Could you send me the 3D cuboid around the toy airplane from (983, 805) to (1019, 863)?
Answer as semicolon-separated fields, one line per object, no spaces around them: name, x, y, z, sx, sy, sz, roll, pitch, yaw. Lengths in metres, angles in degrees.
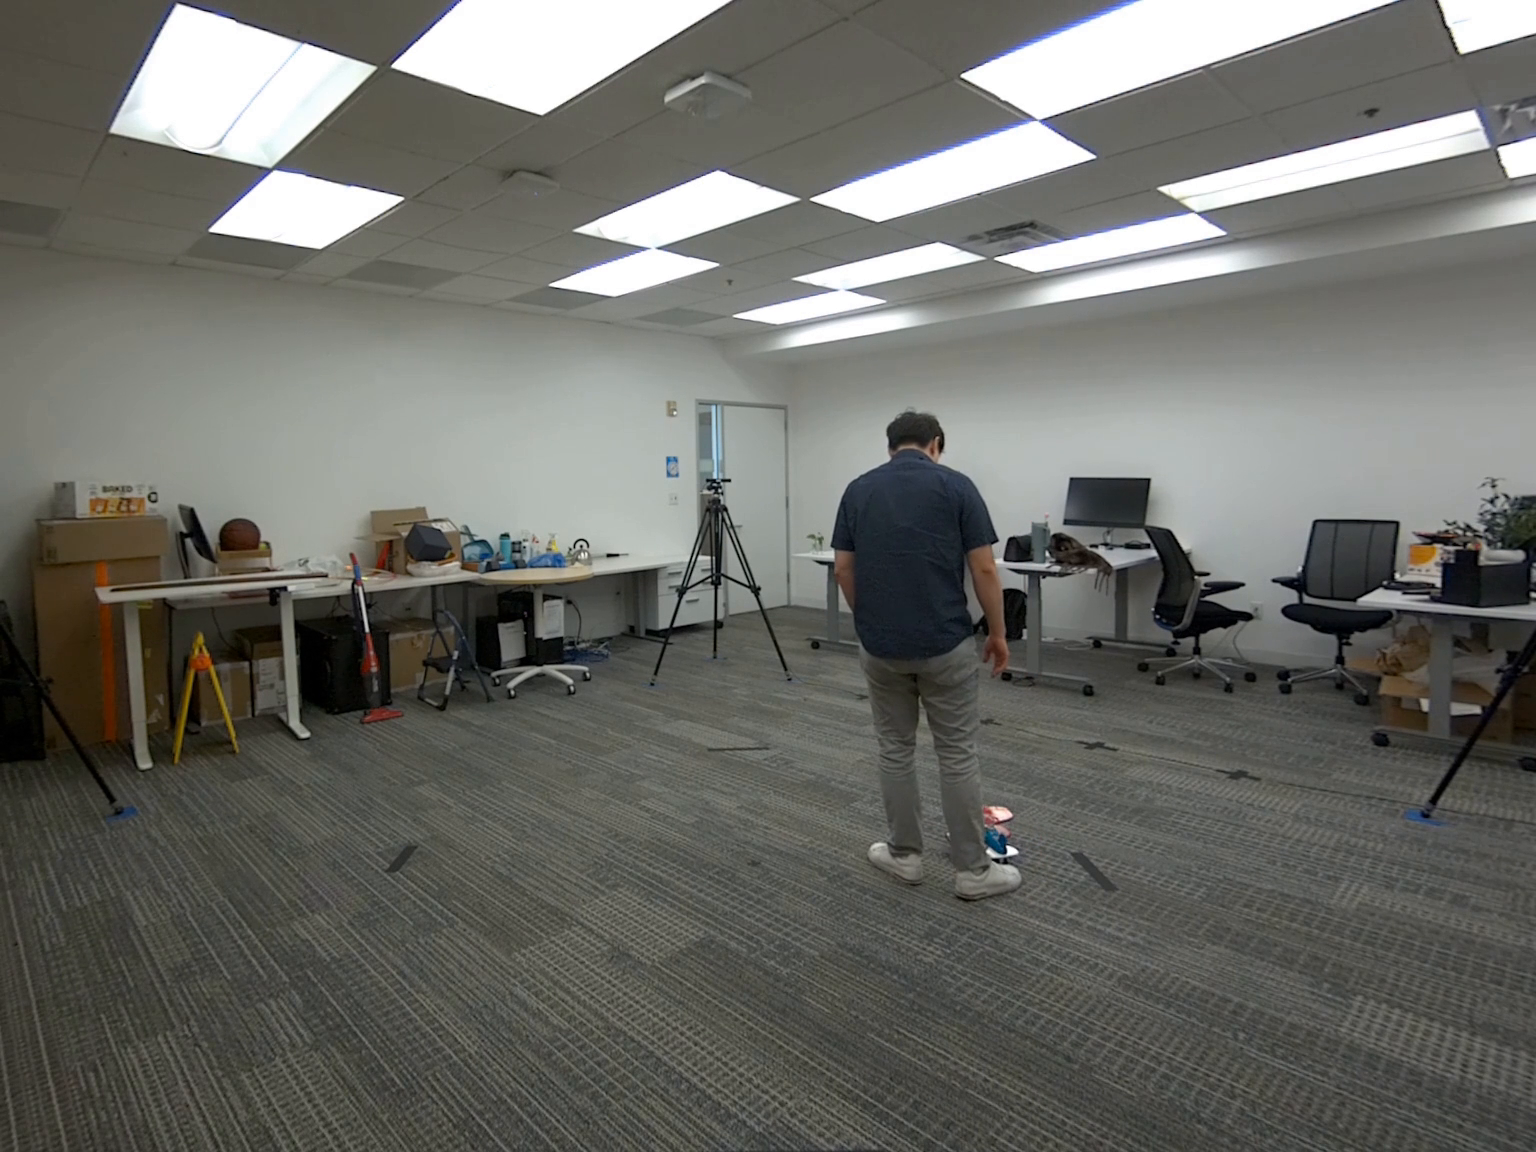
toy airplane;0.821;0.958;3.135;0.244;0.156;0.267;-6;8;-43
